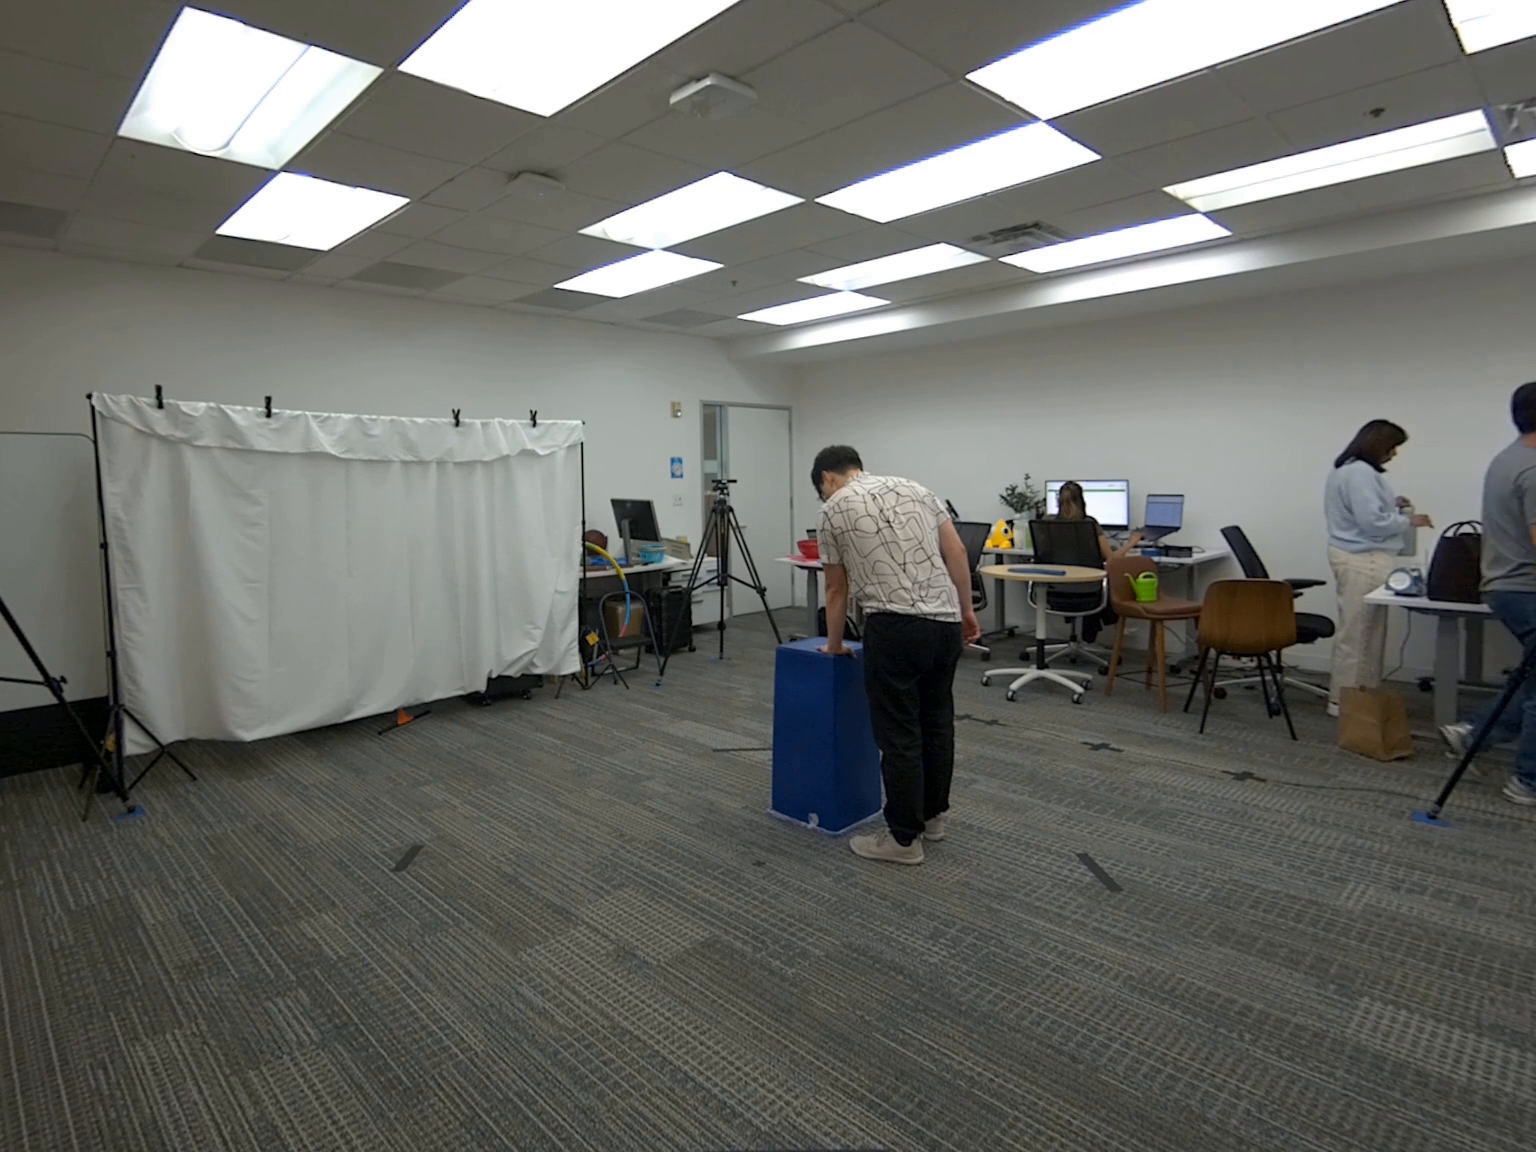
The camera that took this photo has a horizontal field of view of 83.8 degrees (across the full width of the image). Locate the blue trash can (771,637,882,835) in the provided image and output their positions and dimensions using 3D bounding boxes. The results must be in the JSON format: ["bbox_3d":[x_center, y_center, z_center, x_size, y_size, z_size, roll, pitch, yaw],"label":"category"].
[{"bbox_3d":[0.253,0.639,3.549,0.390,0.711,0.364,4,5,44],"label":"blue trash can"}]
